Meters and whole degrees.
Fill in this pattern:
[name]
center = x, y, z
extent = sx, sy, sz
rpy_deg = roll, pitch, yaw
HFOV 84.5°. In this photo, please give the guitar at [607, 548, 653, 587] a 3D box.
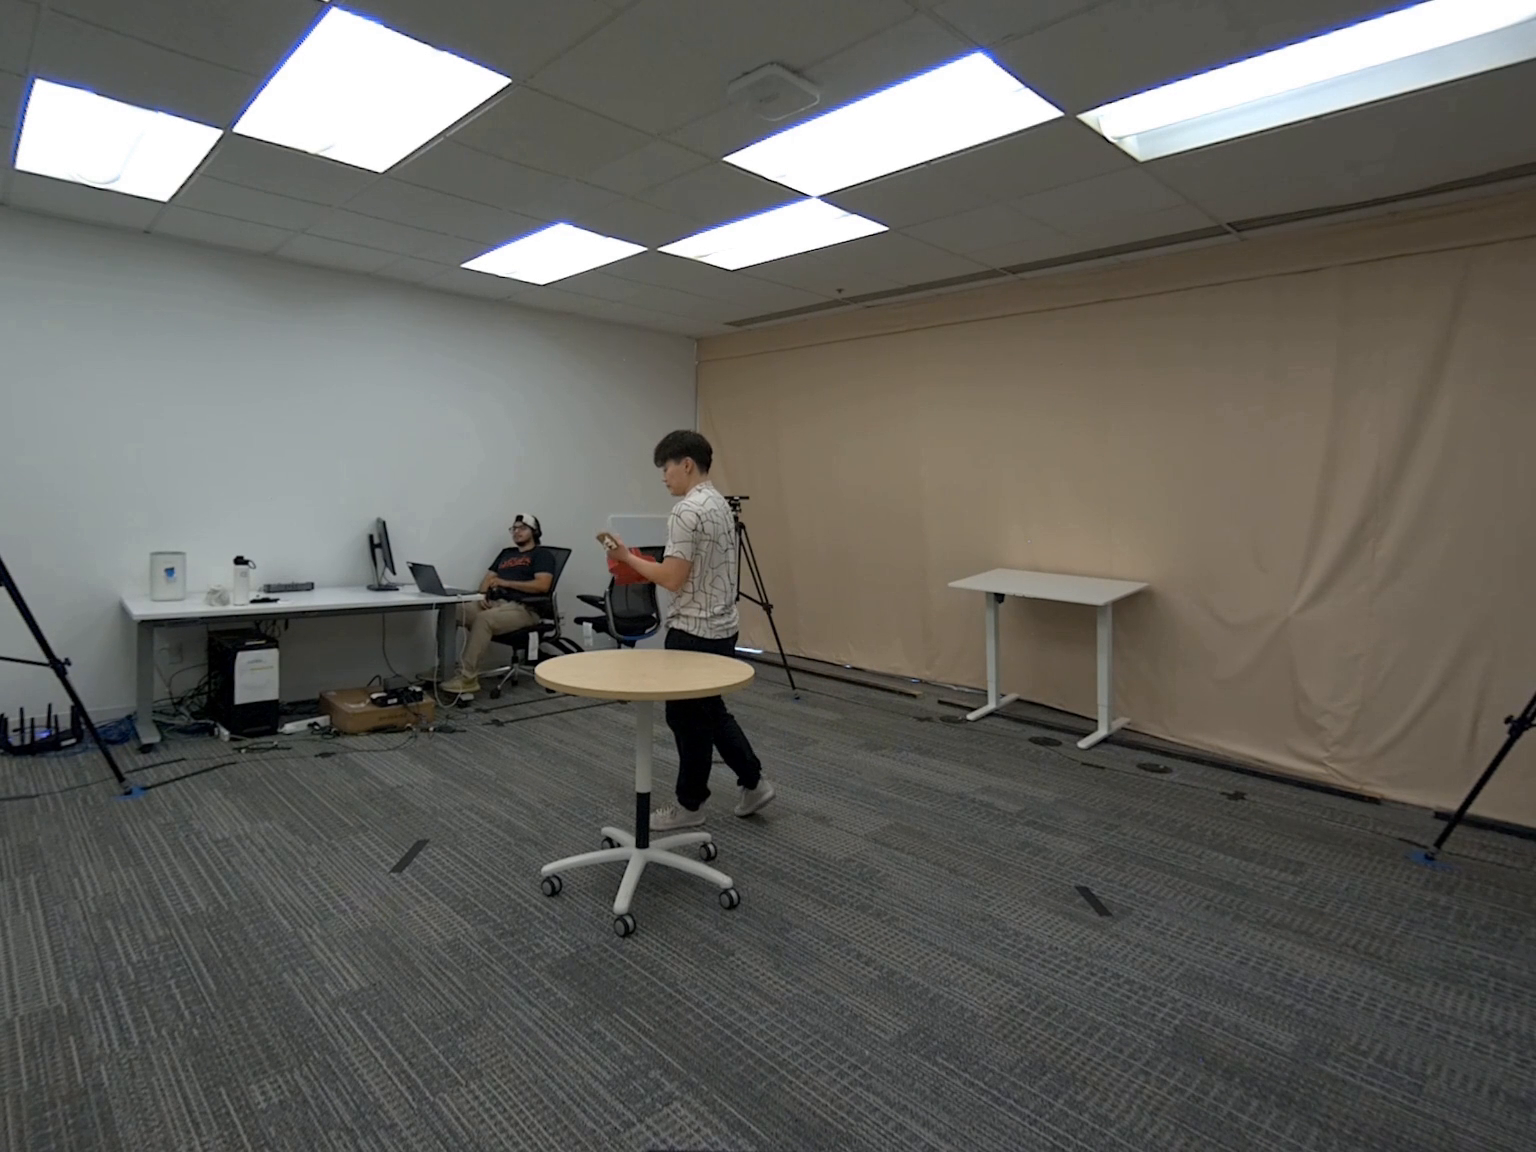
[guitar]
center = -0.628, -0.063, 3.513
extent = 0.194, 0.072, 0.485
rpy_deg = -19, -20, 14
